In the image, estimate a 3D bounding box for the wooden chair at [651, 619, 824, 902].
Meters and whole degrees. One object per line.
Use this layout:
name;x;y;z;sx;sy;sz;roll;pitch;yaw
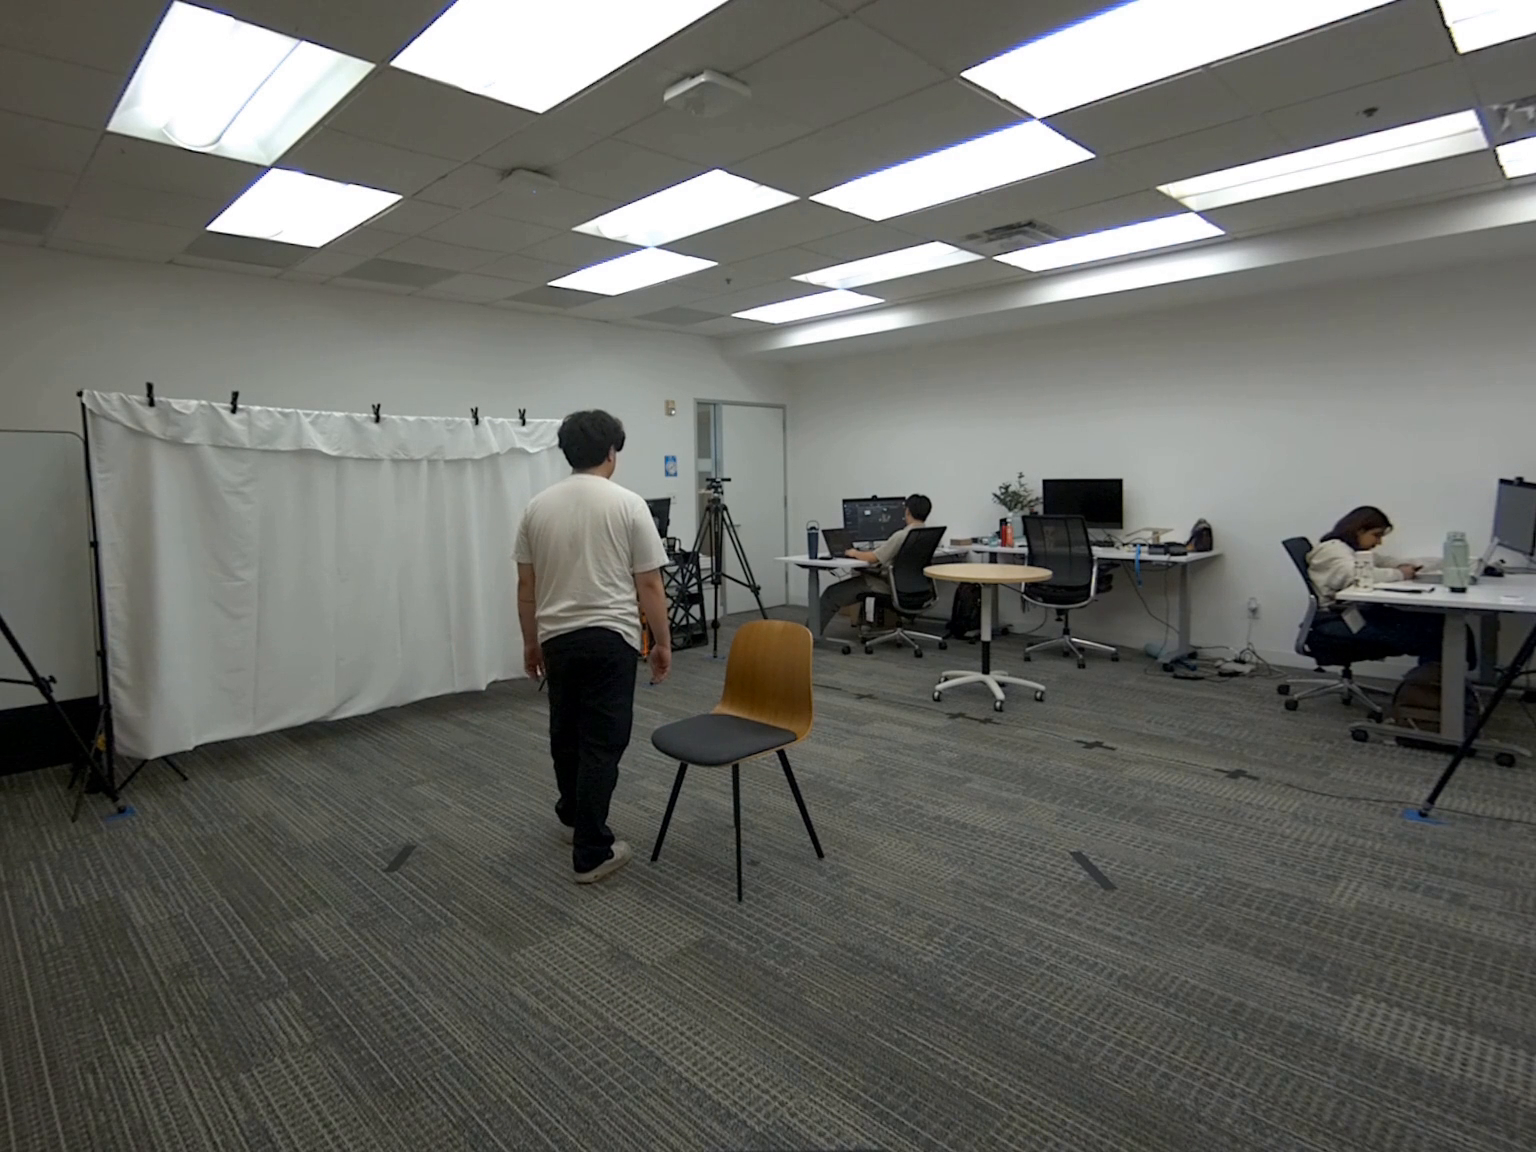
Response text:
wooden chair;-0.127;0.613;3.092;0.493;0.876;0.508;3;2;43
